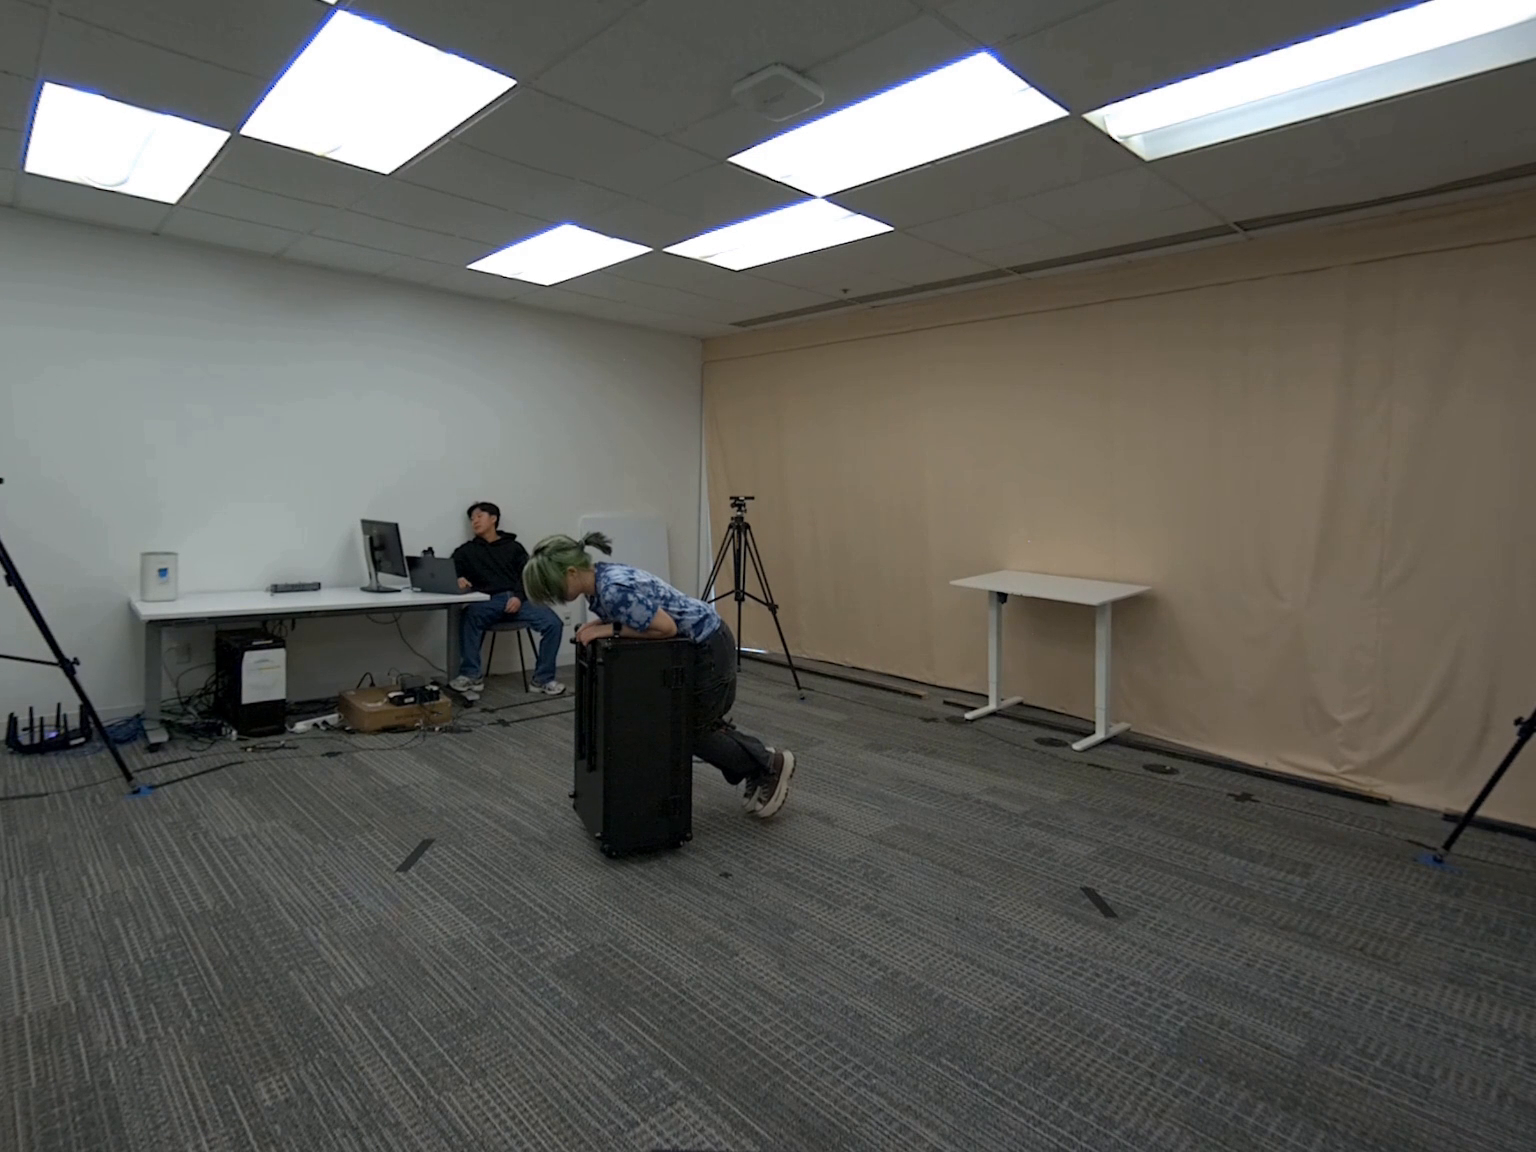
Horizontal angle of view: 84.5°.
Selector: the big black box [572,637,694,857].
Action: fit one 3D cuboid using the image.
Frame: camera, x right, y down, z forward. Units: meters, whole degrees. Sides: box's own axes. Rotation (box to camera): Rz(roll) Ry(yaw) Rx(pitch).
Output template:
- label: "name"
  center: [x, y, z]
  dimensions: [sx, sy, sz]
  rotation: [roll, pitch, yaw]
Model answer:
- label: "big black box"
  center: [-0.566, 0.597, 3.364]
  dimensions: [0.389, 0.859, 0.532]
  rotation: [-1, 3, -25]
